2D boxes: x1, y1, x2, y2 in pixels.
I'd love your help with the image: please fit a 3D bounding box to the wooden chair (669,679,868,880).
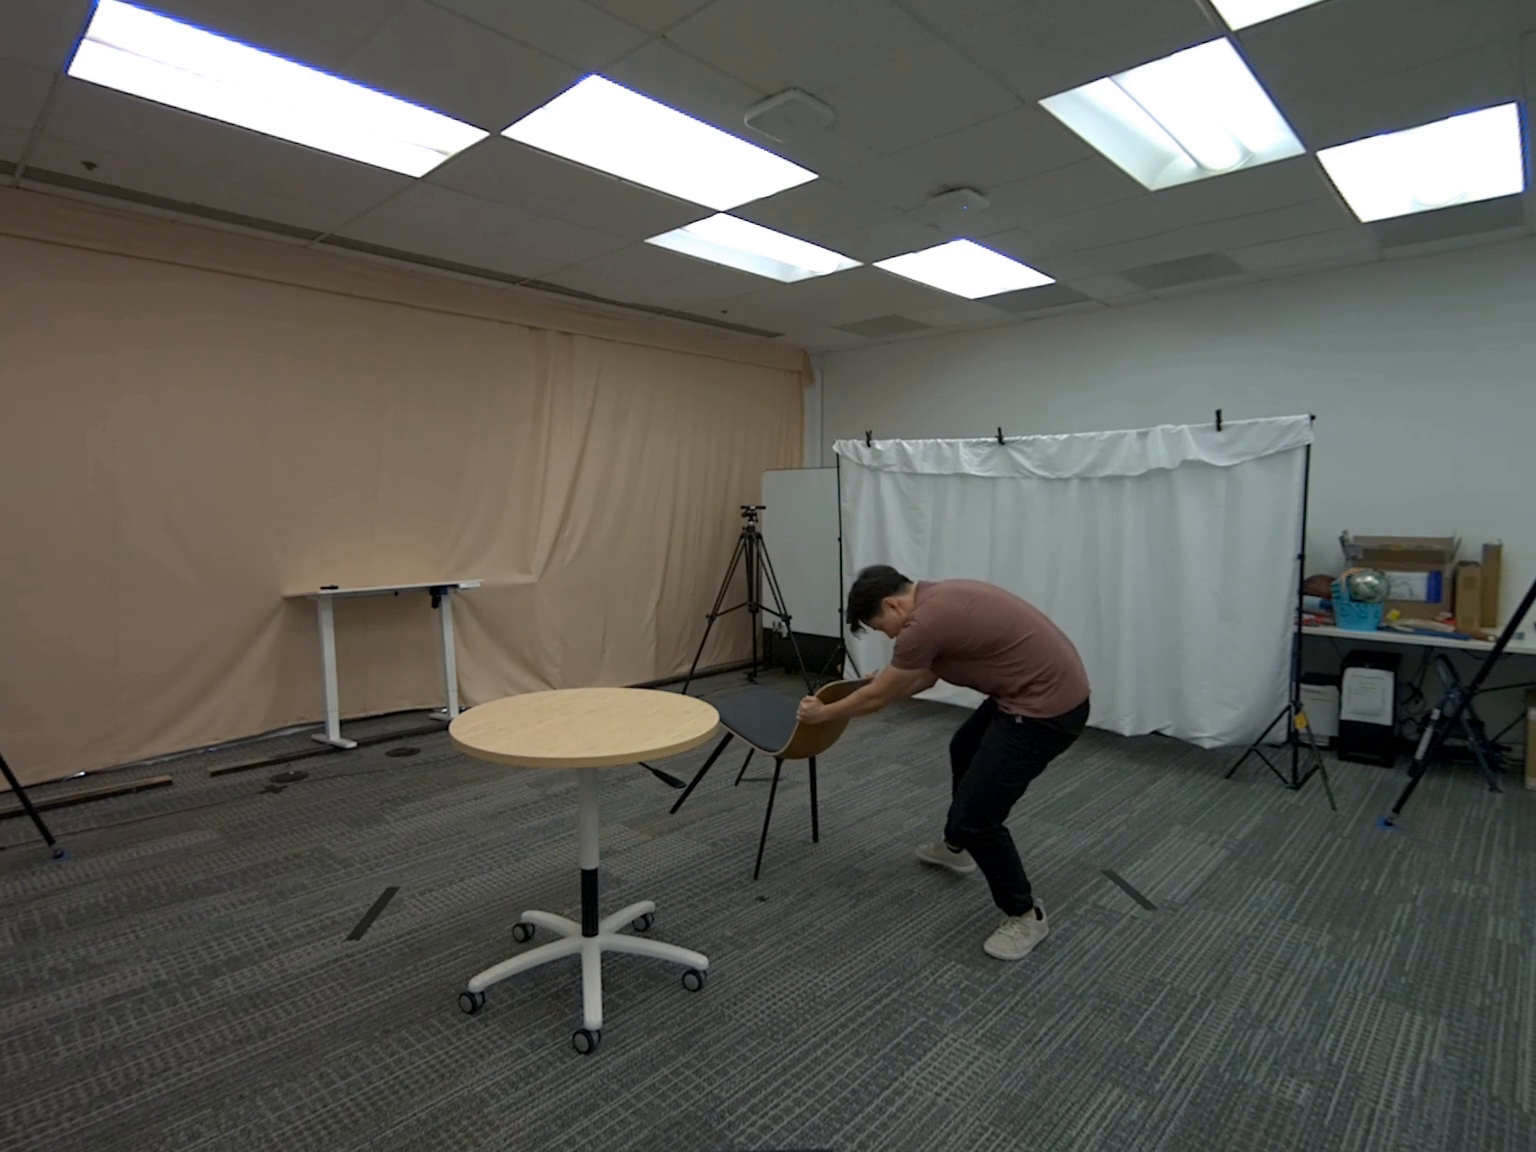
[{"bbox_3d":[0.024,0.630,3.317,0.541,0.874,0.464,32,21,31],"label":"wooden chair"}]
